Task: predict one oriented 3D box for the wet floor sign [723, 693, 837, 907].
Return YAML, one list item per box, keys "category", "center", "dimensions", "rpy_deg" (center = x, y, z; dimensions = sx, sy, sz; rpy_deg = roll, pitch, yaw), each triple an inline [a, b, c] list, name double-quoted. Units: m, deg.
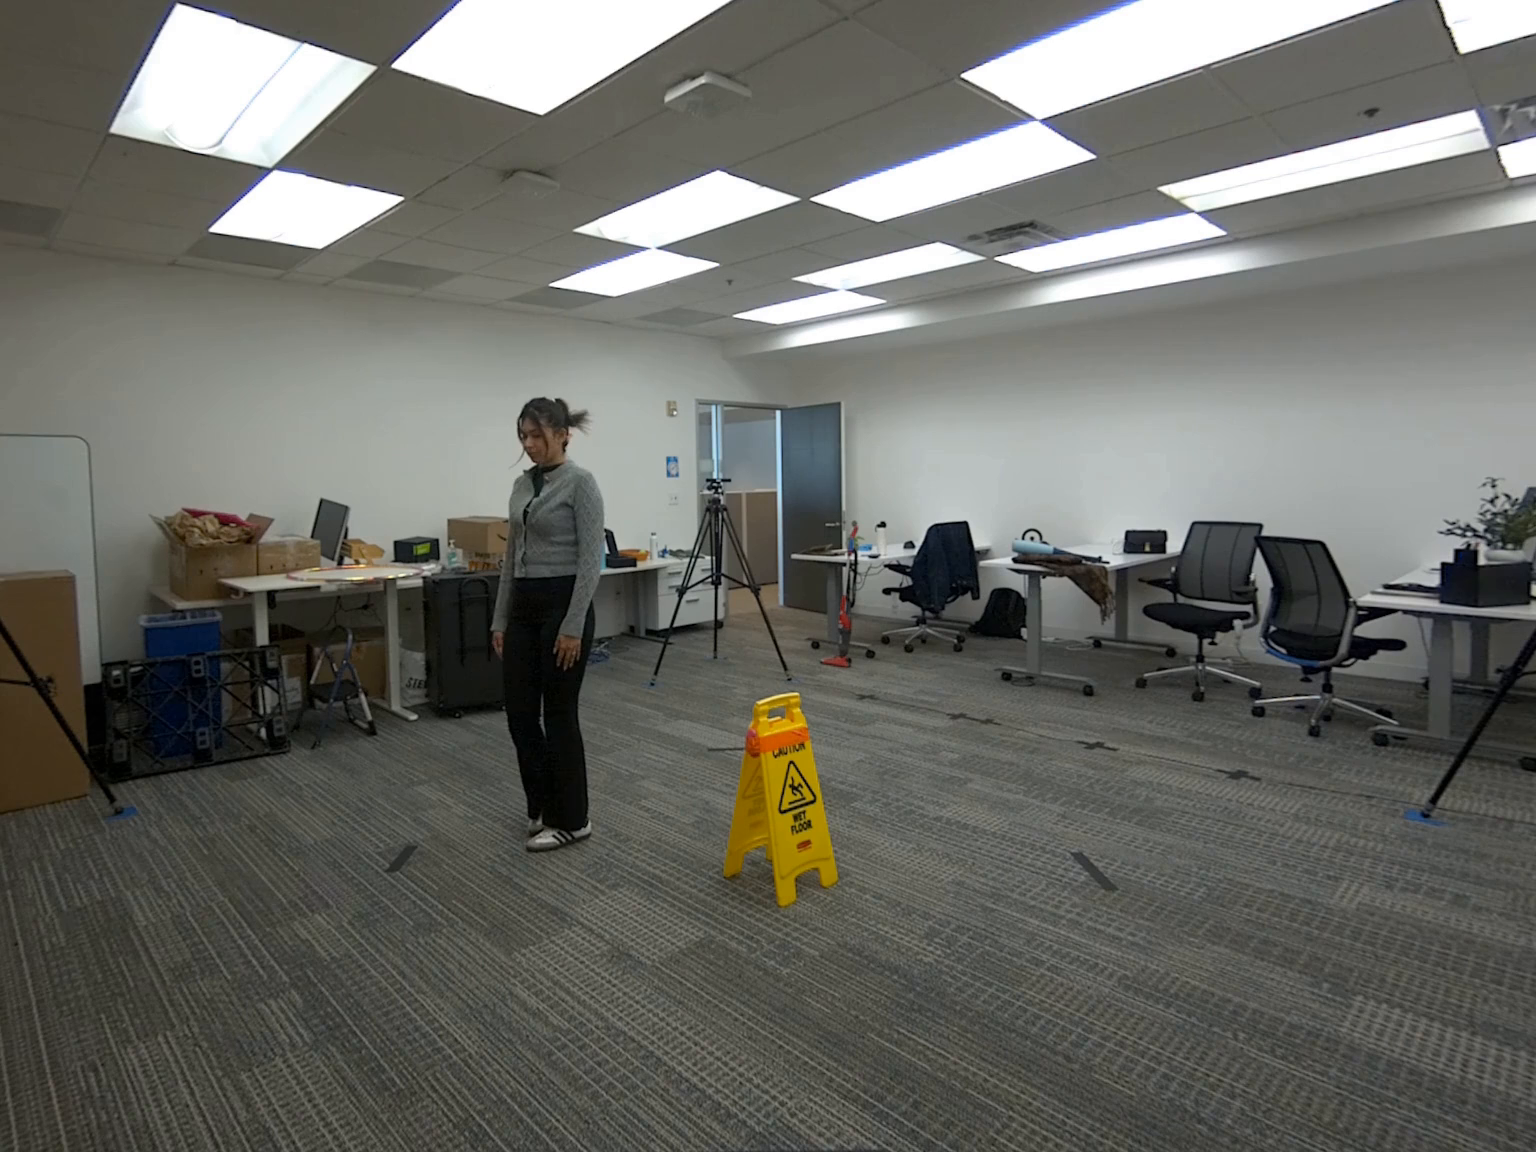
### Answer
- category: "wet floor sign"
  center: [0.041, 0.736, 2.958]
  dimensions: [0.275, 0.643, 0.298]
  rpy_deg: [-5, 6, -41]
